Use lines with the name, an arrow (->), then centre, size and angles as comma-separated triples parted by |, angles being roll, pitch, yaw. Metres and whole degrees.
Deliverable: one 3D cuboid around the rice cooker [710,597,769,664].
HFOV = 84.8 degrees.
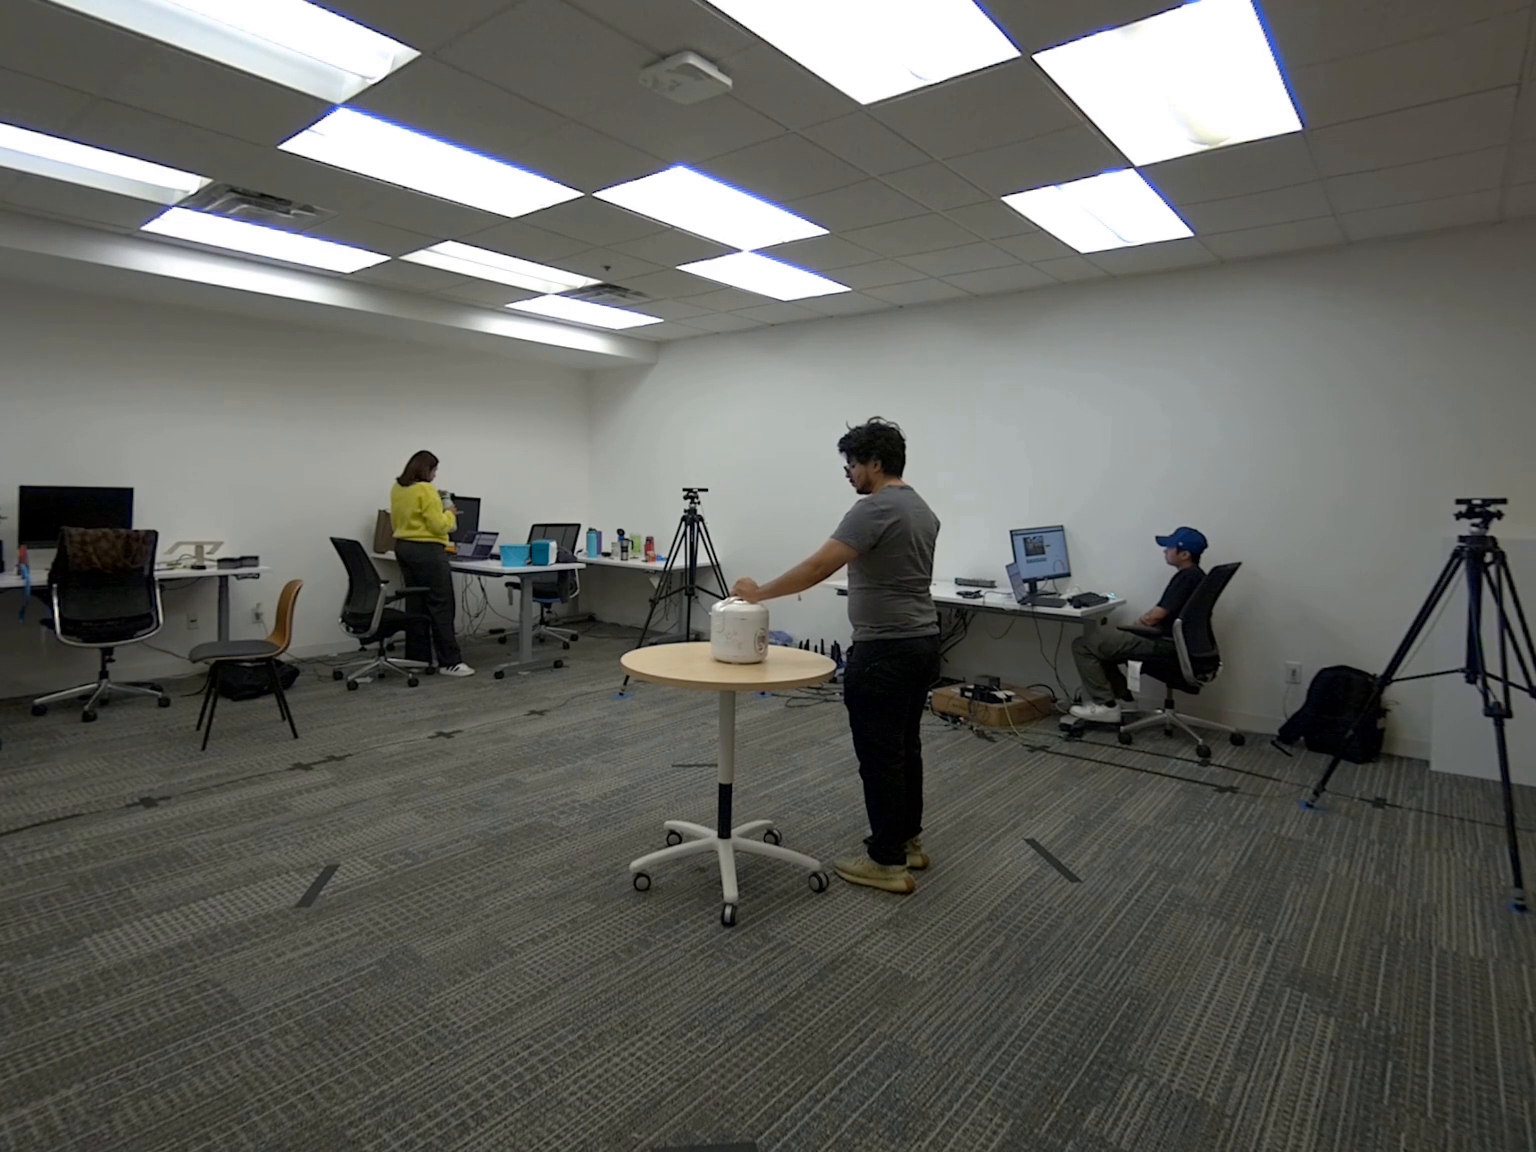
rice cooker -> -0.110, 0.183, 3.044 | 0.225, 0.232, 0.214 | 3, 4, 44
